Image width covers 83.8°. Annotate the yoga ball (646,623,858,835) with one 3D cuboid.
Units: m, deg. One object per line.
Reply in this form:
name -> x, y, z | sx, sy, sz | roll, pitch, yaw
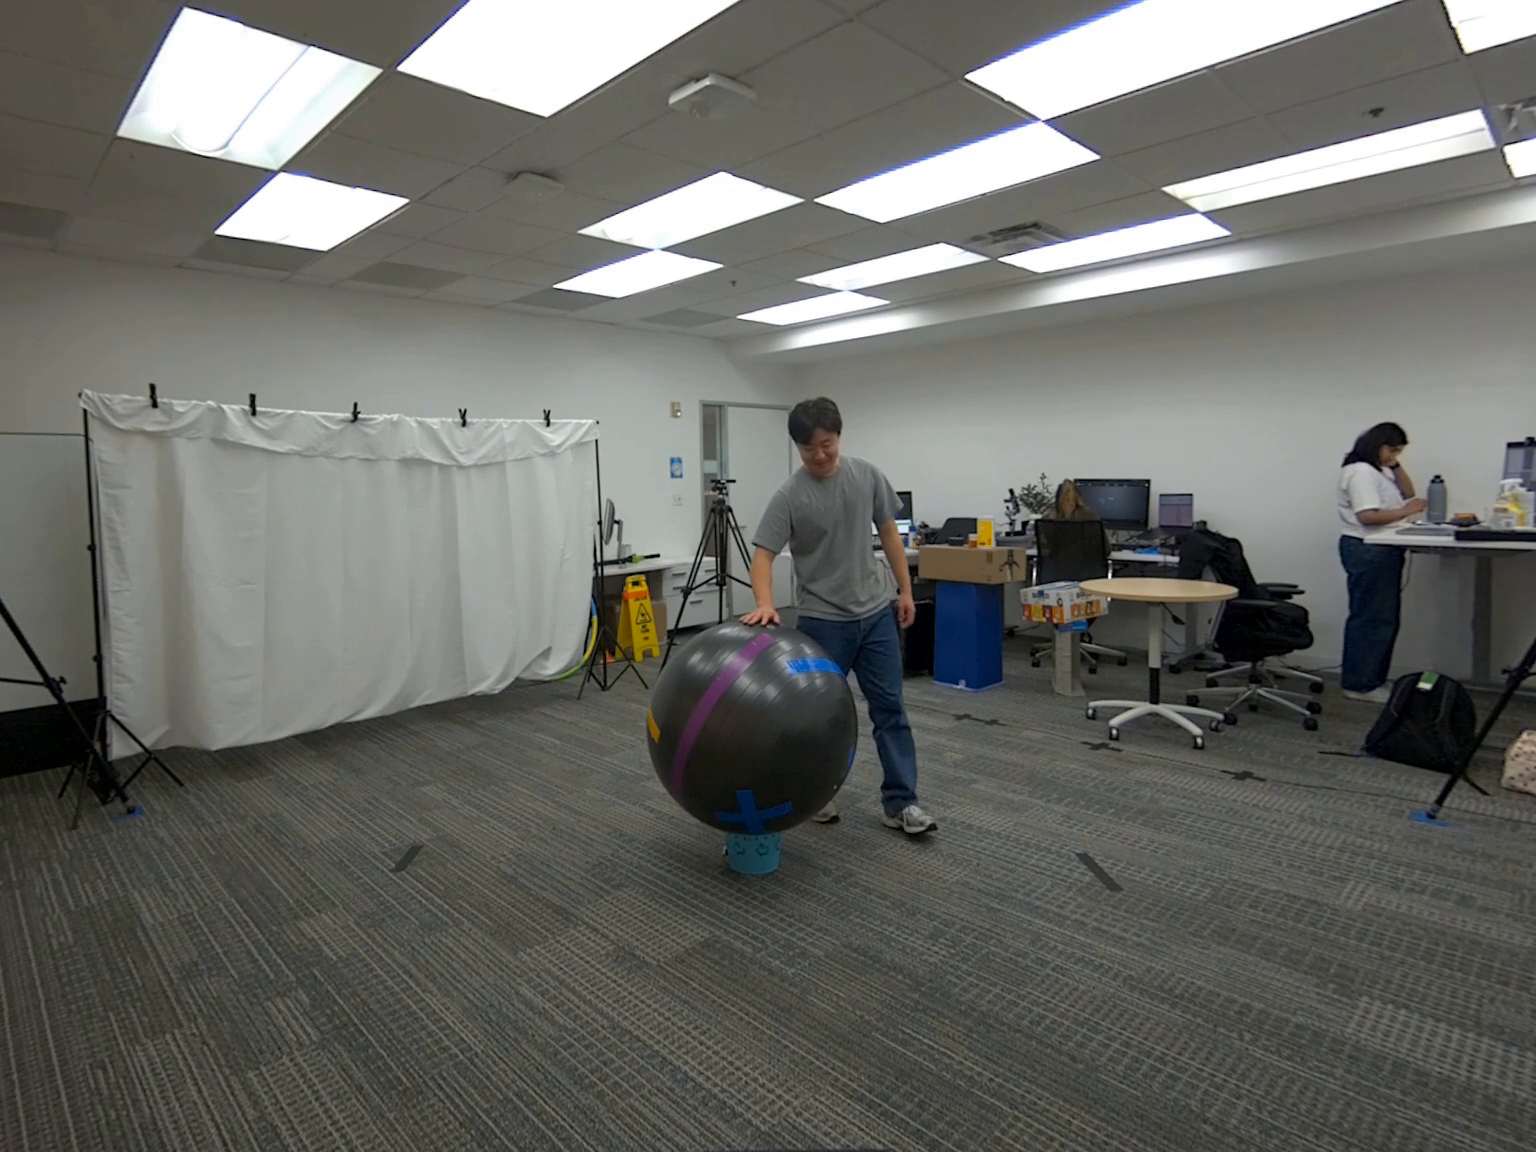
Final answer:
yoga ball -> -0.056, 0.538, 3.083 | 0.757, 0.755, 0.762 | -1, 5, -2
